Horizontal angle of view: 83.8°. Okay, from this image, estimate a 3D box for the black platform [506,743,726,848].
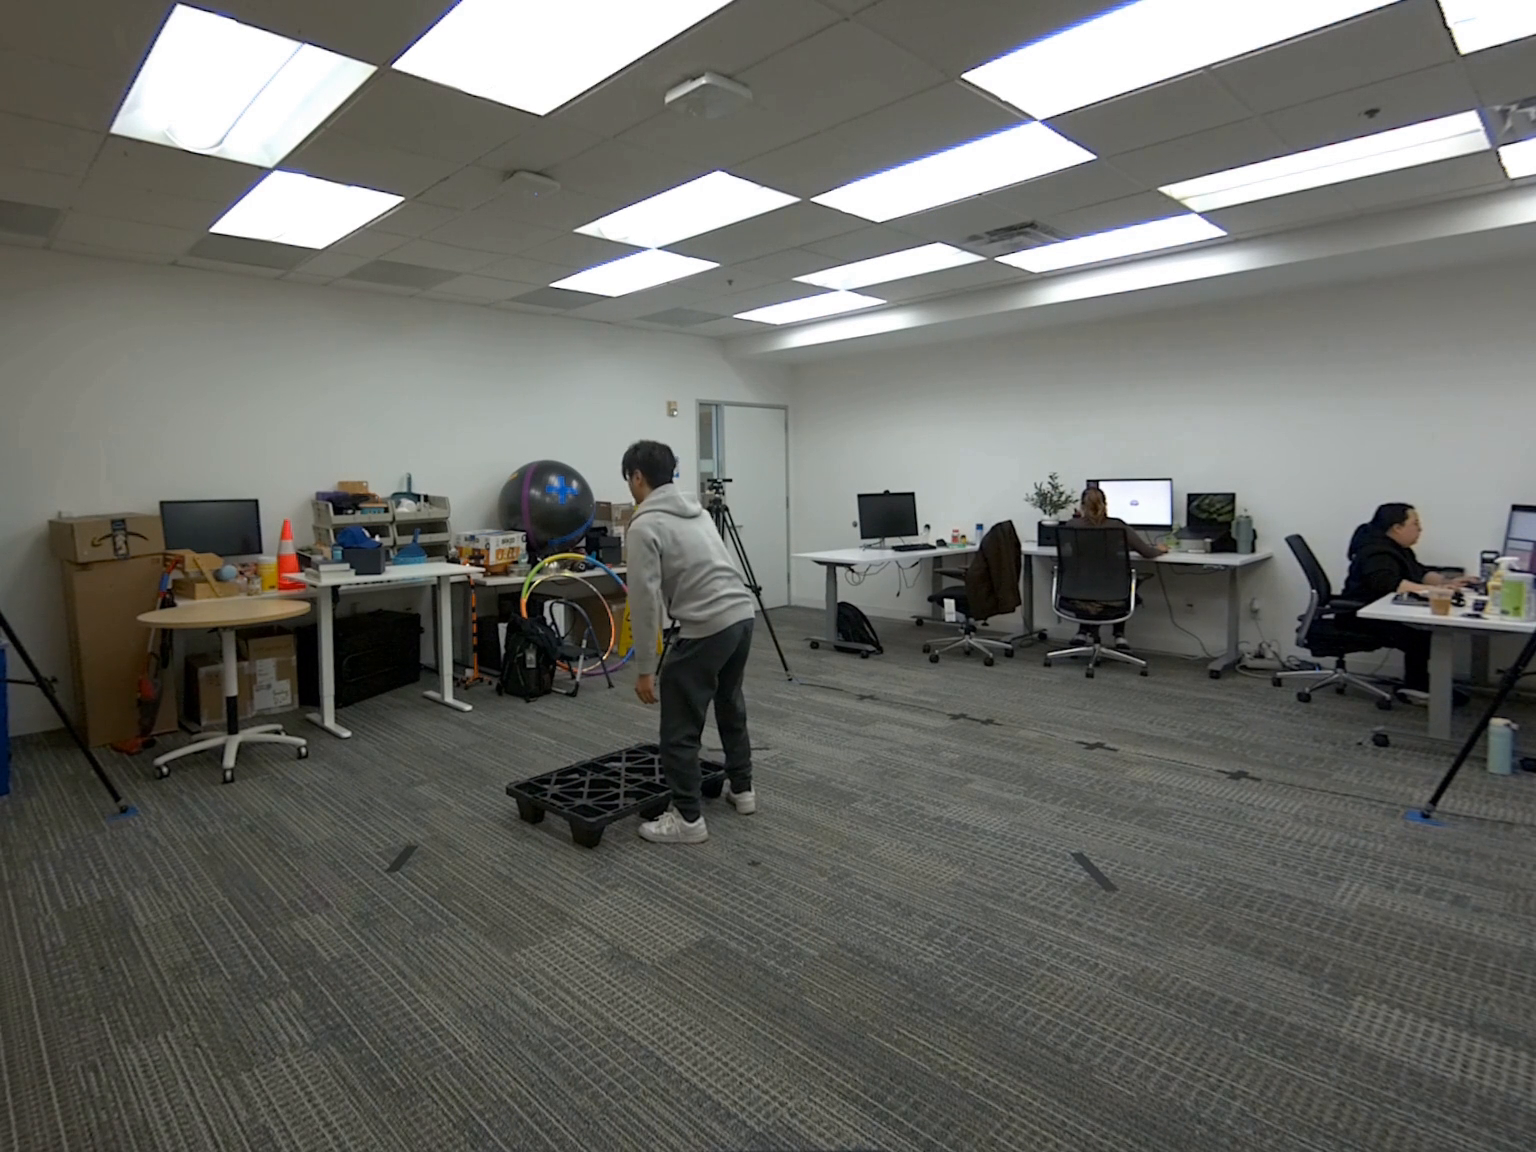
[{"bbox_3d":[-0.617,0.927,3.671,0.624,0.142,0.785,4,8,41],"label":"black platform"}]
